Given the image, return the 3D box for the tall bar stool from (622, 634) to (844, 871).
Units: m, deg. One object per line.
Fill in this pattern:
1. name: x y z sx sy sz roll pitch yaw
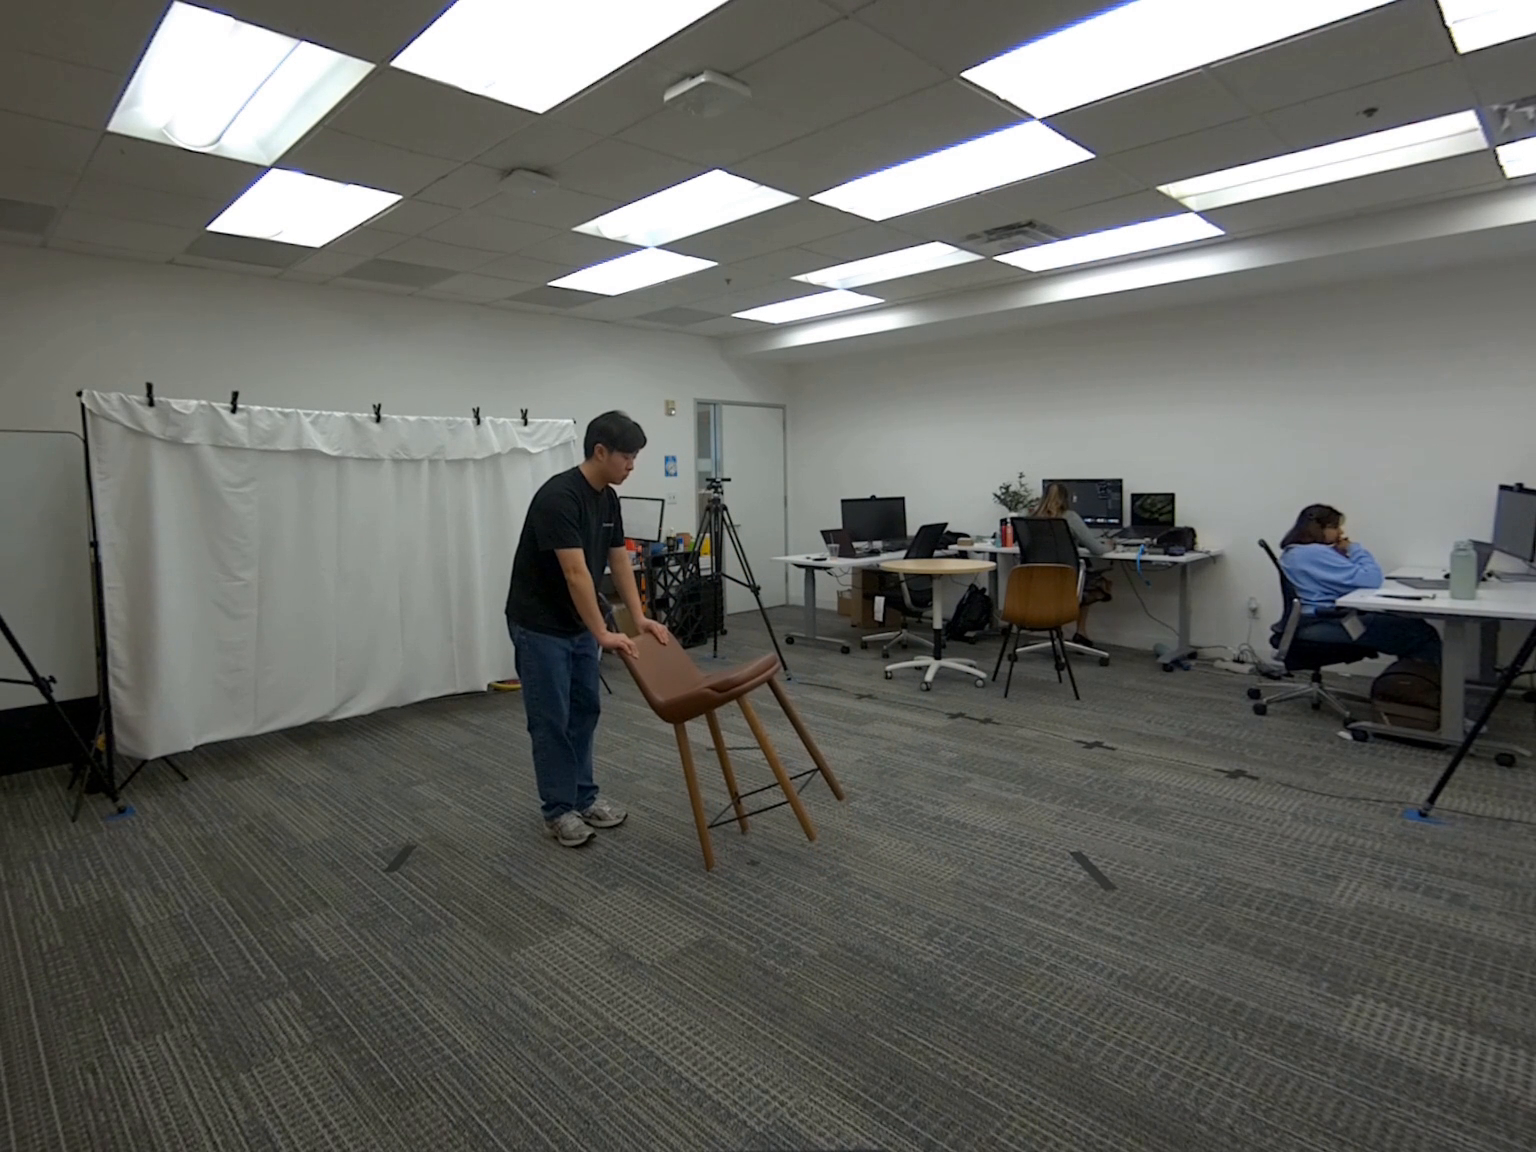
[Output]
1. tall bar stool: -0.143 0.552 3.182 0.472 0.897 0.449 -27 -6 22
